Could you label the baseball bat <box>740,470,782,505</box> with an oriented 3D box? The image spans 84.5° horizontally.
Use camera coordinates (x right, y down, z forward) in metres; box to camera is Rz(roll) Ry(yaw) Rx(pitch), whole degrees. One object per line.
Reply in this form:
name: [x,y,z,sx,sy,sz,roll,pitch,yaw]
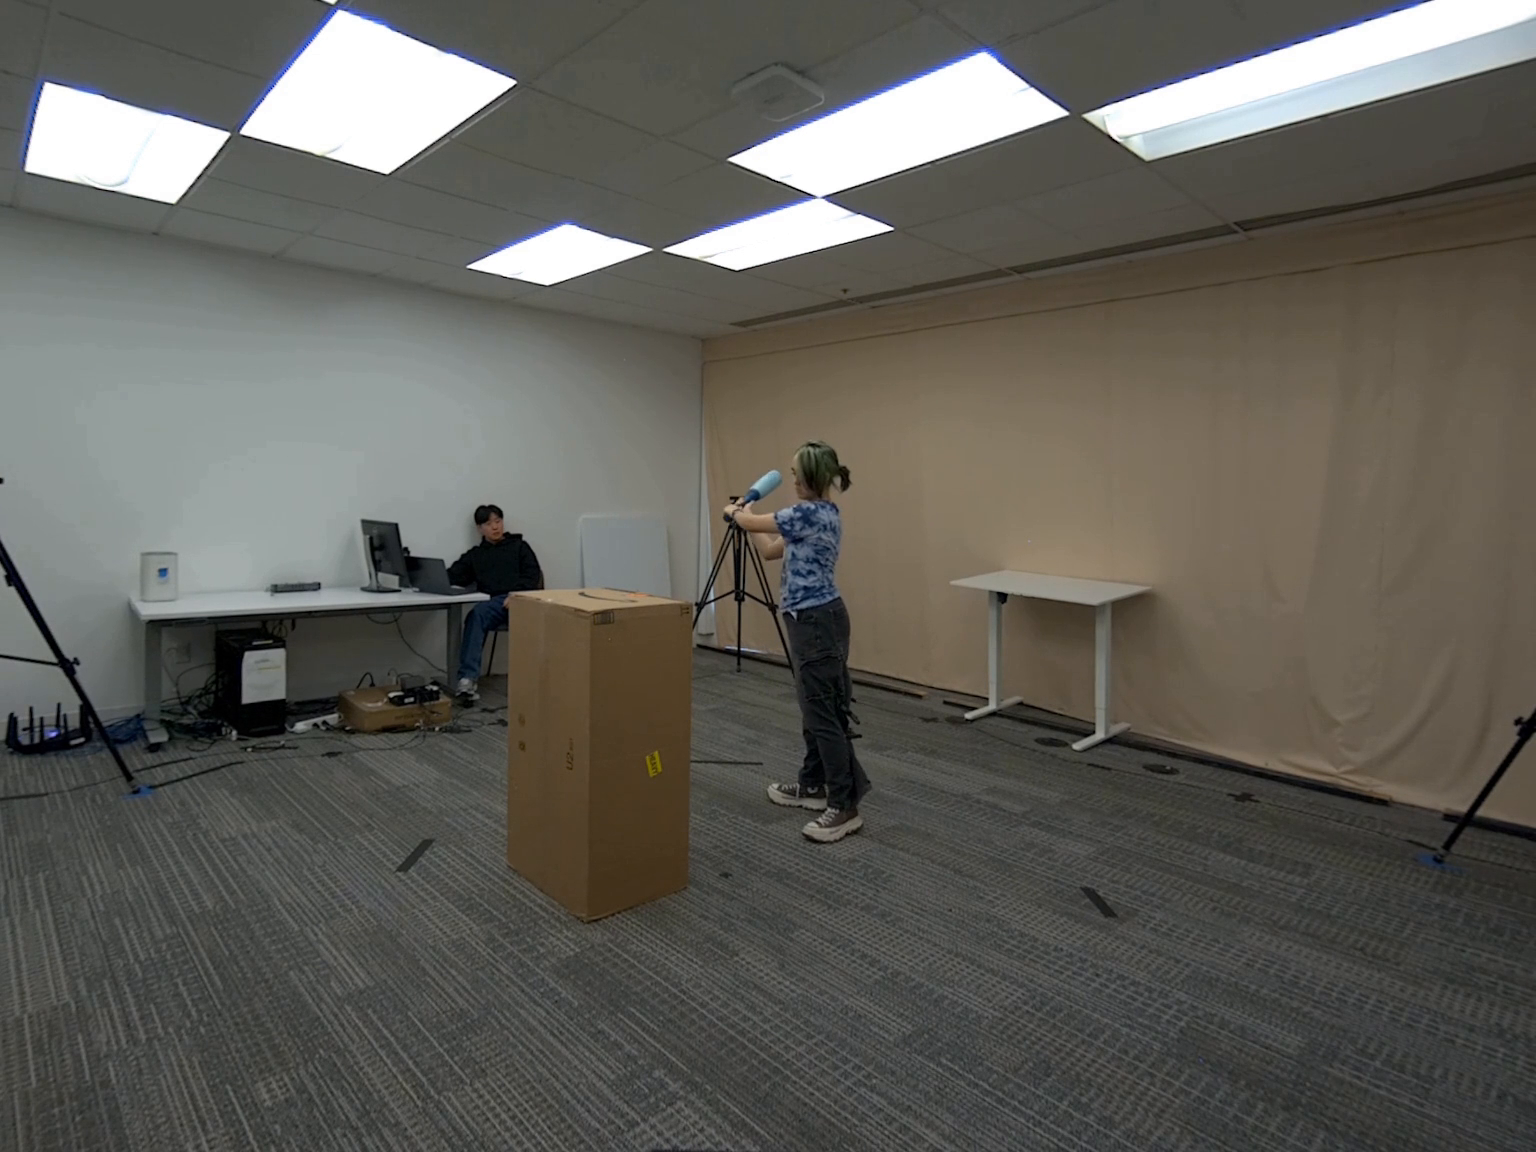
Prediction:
baseball bat: [-0.092,-0.387,4.155,0.091,0.087,0.542,3,28,27]
